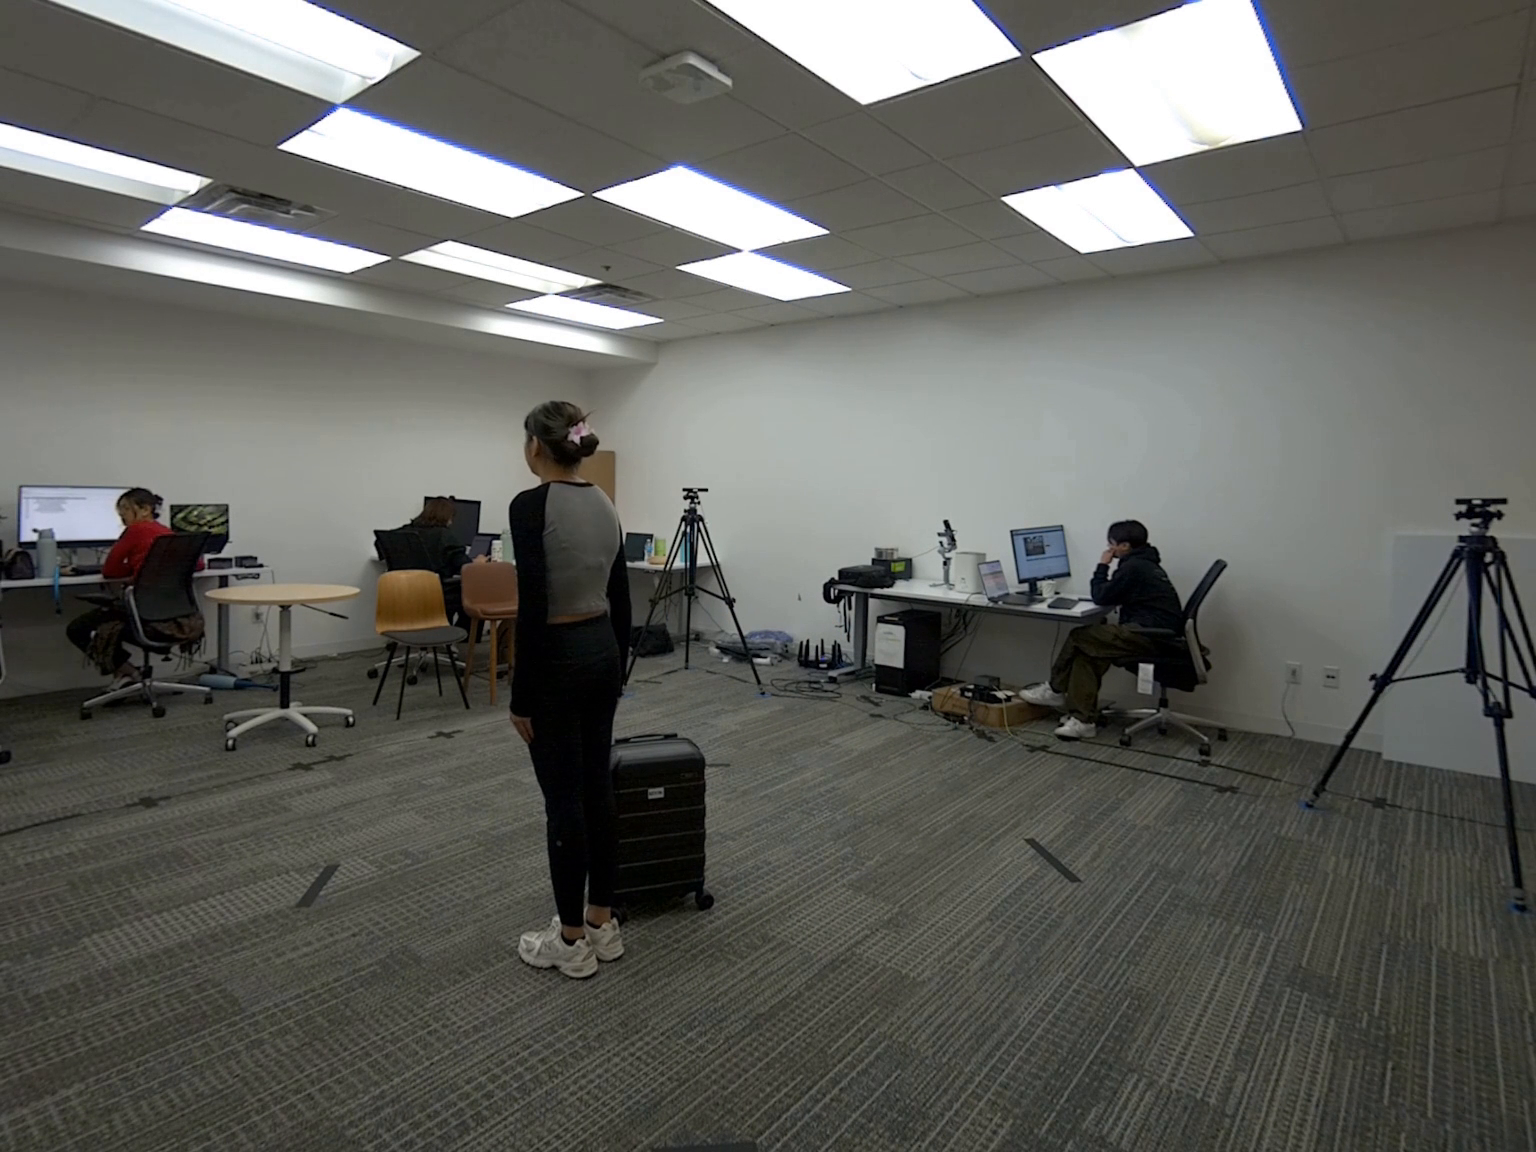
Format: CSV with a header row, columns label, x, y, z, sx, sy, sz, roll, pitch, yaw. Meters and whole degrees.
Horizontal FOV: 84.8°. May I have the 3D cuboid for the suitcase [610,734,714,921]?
label,x,y,z,sx,sy,sz,roll,pitch,yaw
suitcase,-0.403,0.813,2.849,0.367,0.548,0.254,0,3,-22
